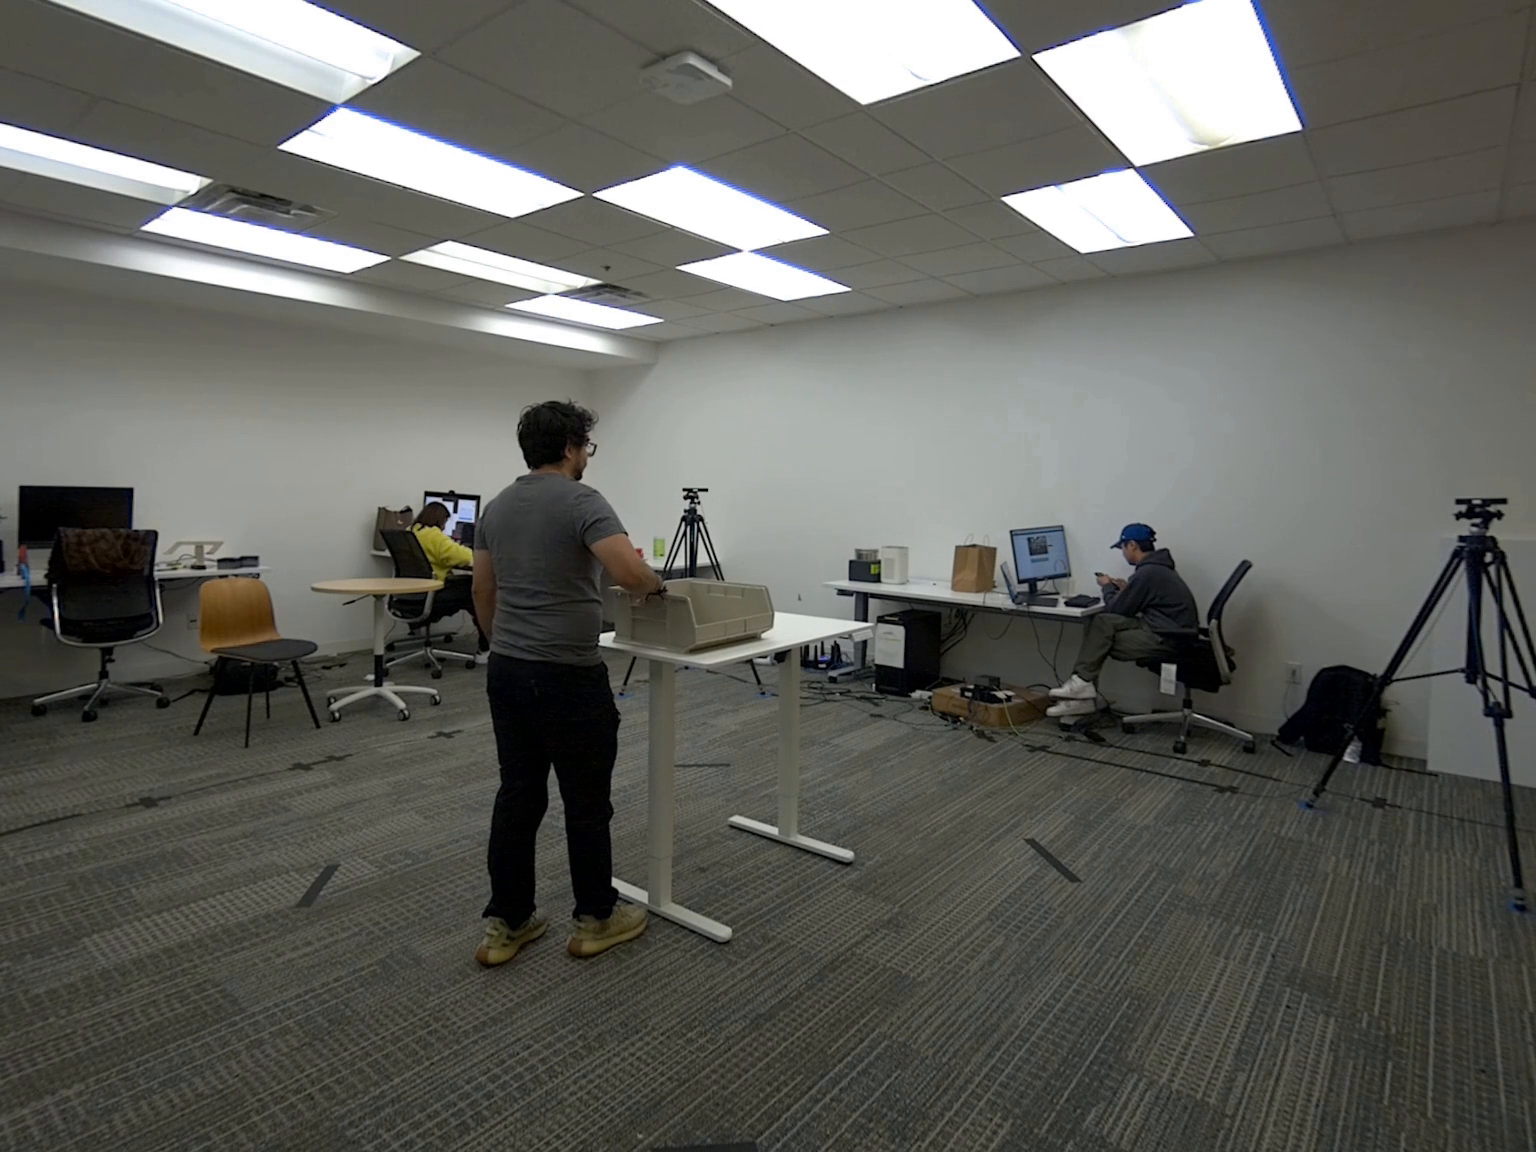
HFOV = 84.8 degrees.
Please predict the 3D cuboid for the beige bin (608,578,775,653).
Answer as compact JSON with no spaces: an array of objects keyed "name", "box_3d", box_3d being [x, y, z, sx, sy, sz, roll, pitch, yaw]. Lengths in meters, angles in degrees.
[{"name":"beige bin","box_3d":[-0.256,0.126,2.840,0.389,0.188,0.410,2,6,37]}]
